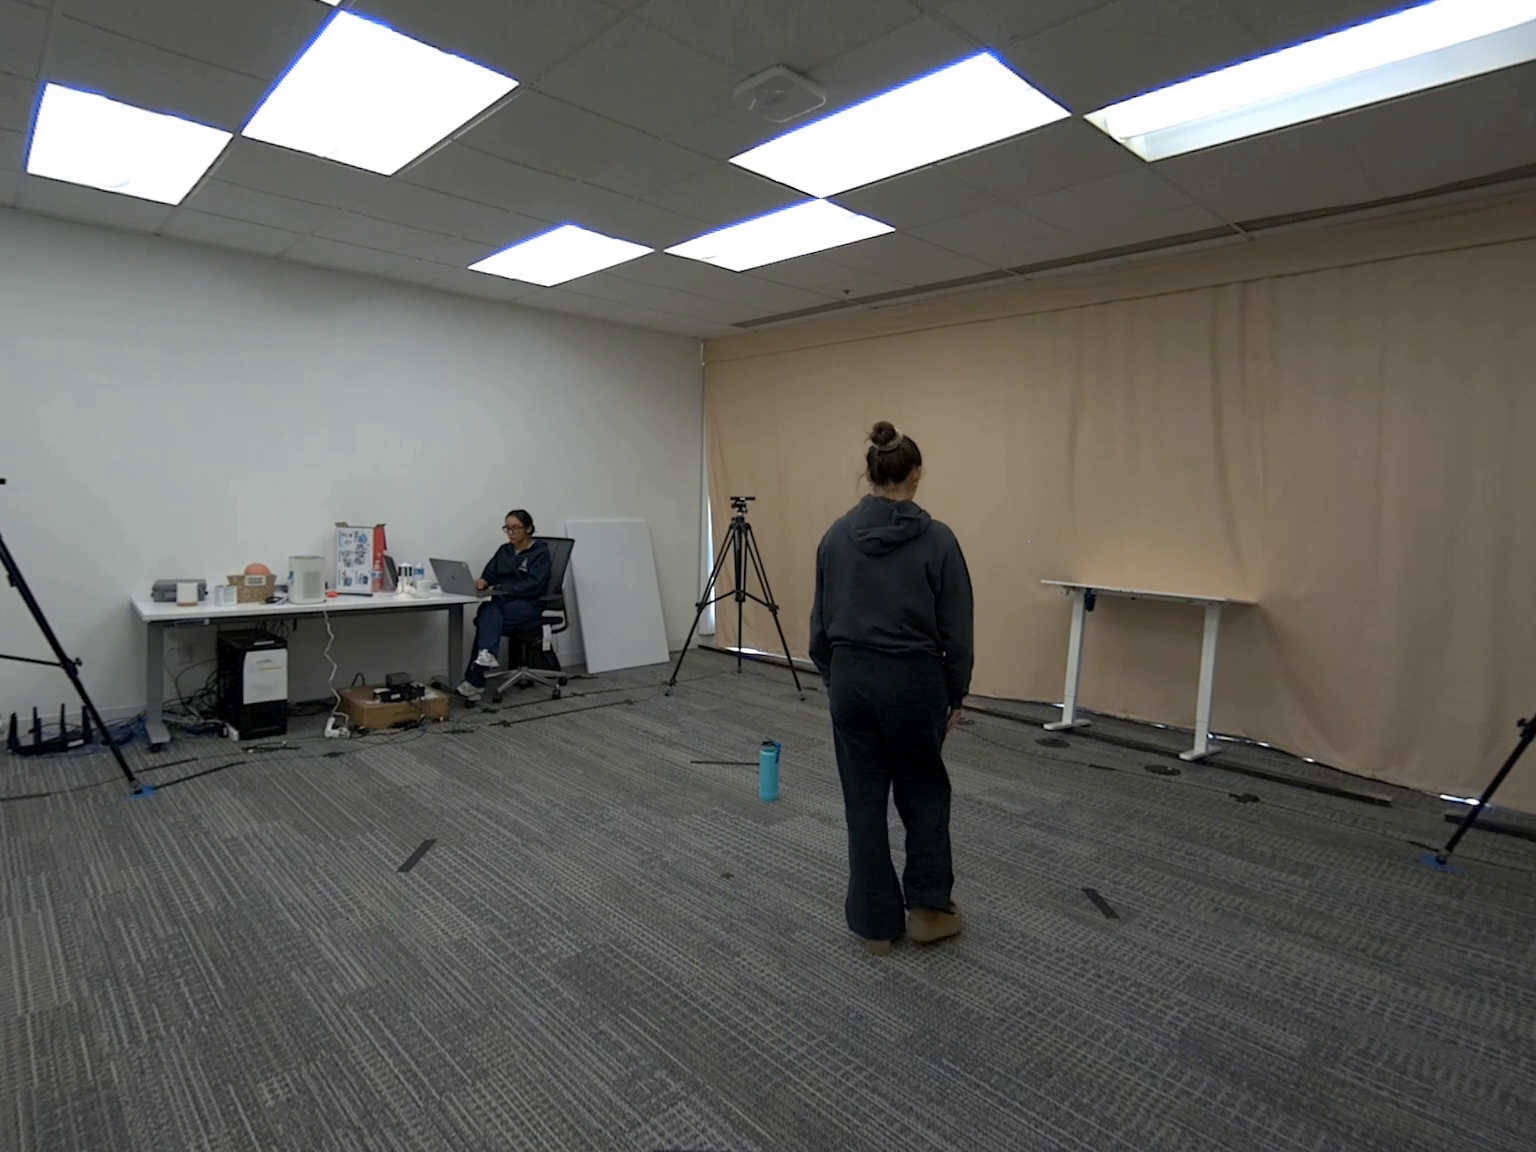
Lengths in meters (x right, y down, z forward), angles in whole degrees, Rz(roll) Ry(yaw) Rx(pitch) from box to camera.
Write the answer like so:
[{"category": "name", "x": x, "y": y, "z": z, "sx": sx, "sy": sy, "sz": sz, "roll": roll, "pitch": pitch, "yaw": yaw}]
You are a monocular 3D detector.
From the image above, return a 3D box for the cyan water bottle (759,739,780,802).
[{"category": "cyan water bottle", "x": -0.007, "y": 0.896, "z": 3.955, "sx": 0.092, "sy": 0.283, "sz": 0.092, "roll": 3, "pitch": 3, "yaw": -2}]
